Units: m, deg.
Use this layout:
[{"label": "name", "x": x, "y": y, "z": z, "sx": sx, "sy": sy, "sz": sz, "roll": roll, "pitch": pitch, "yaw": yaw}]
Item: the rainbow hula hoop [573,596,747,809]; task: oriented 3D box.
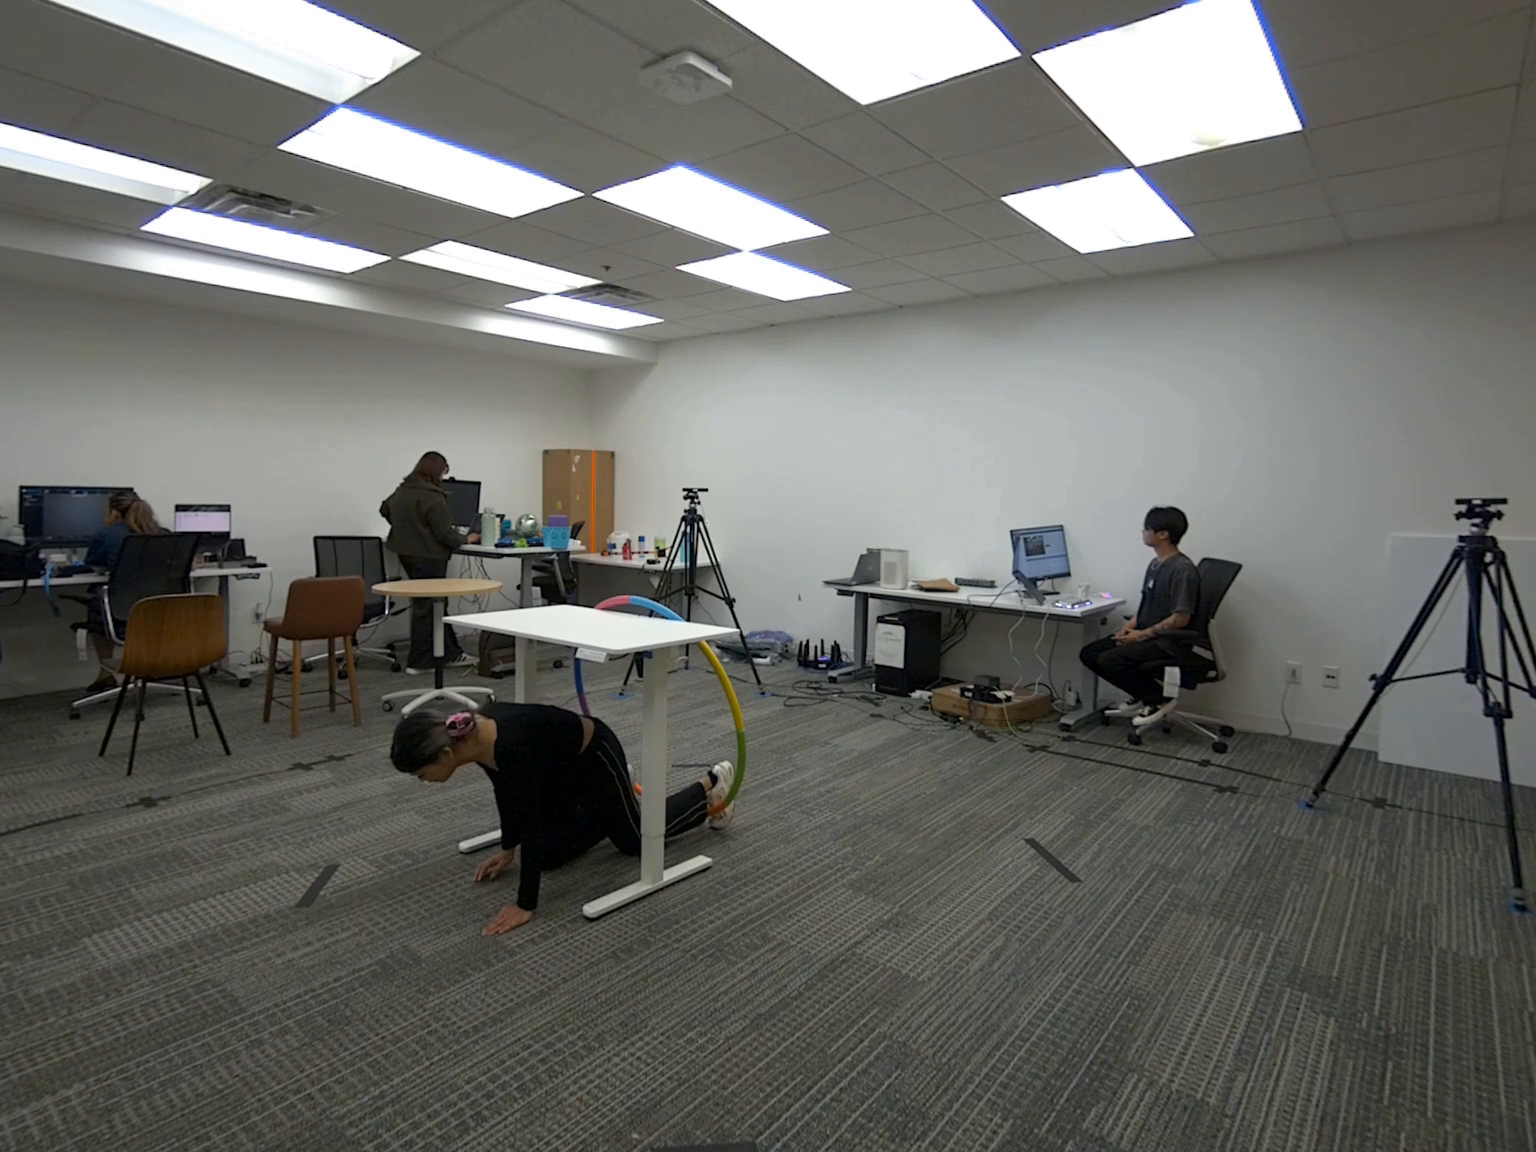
[{"label": "rainbow hula hoop", "x": -0.486, "y": 0.552, "z": 3.531, "sx": 1.011, "sy": 0.964, "sz": 0.035, "roll": 4, "pitch": 19, "yaw": 40}]
